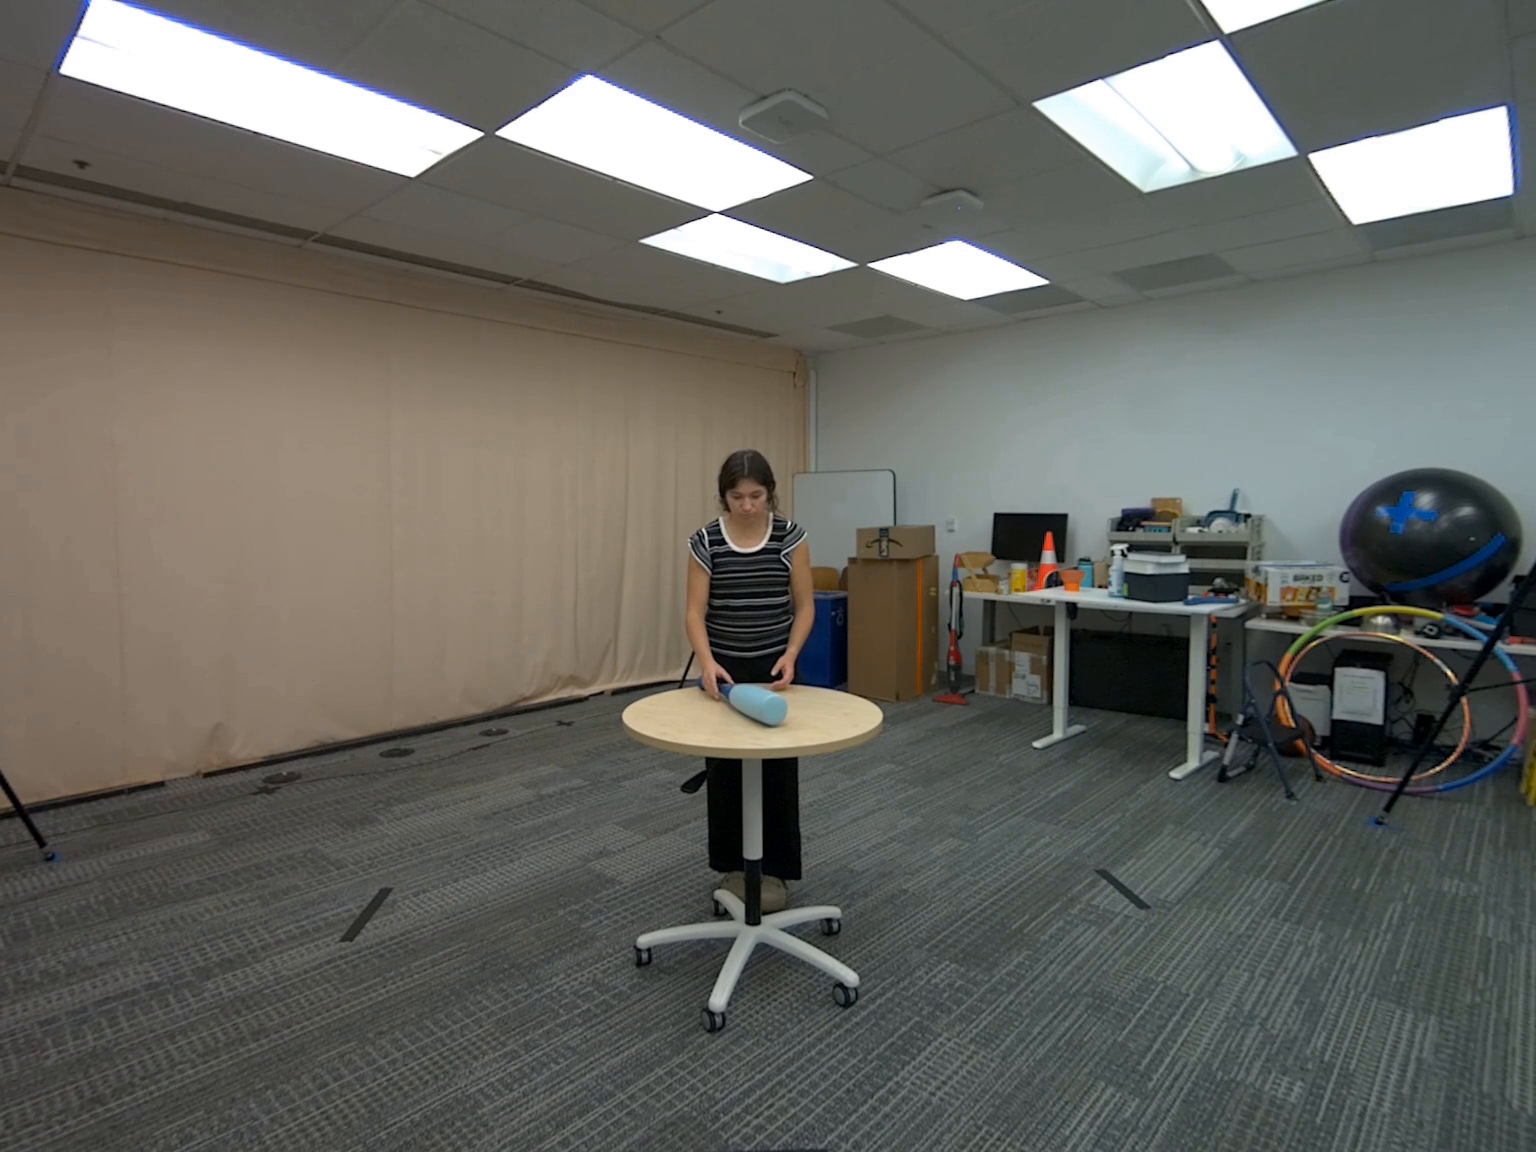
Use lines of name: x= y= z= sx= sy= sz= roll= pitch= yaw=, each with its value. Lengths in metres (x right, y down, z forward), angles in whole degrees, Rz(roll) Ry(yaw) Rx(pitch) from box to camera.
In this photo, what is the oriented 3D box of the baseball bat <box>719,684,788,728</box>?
baseball bat: x=-0.090 y=0.360 z=2.547 sx=0.087 sy=0.089 sz=0.556 roll=-2 pitch=2 yaw=-25
